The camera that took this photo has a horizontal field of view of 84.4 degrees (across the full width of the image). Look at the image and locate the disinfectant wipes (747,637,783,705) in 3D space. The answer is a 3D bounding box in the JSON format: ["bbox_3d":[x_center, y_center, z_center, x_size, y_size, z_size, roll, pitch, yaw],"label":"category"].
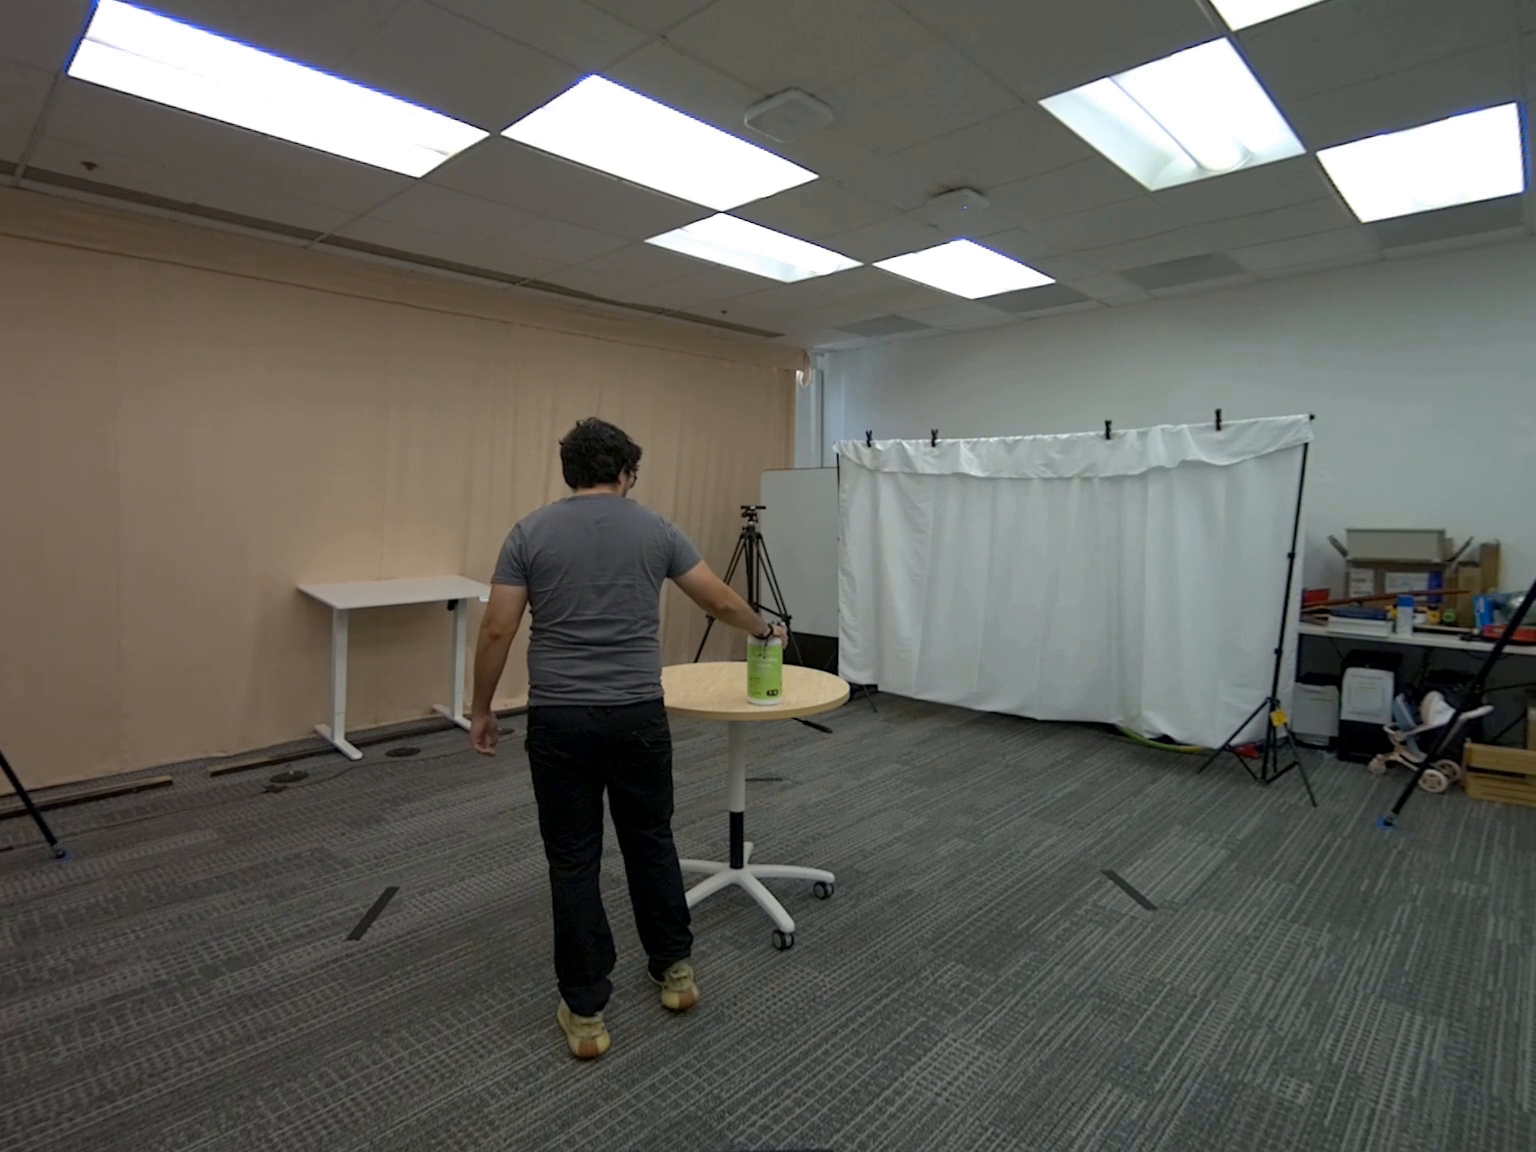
[{"bbox_3d":[-0.010,0.290,2.624,0.118,0.216,0.118,-1,8,-2],"label":"disinfectant wipes"}]
